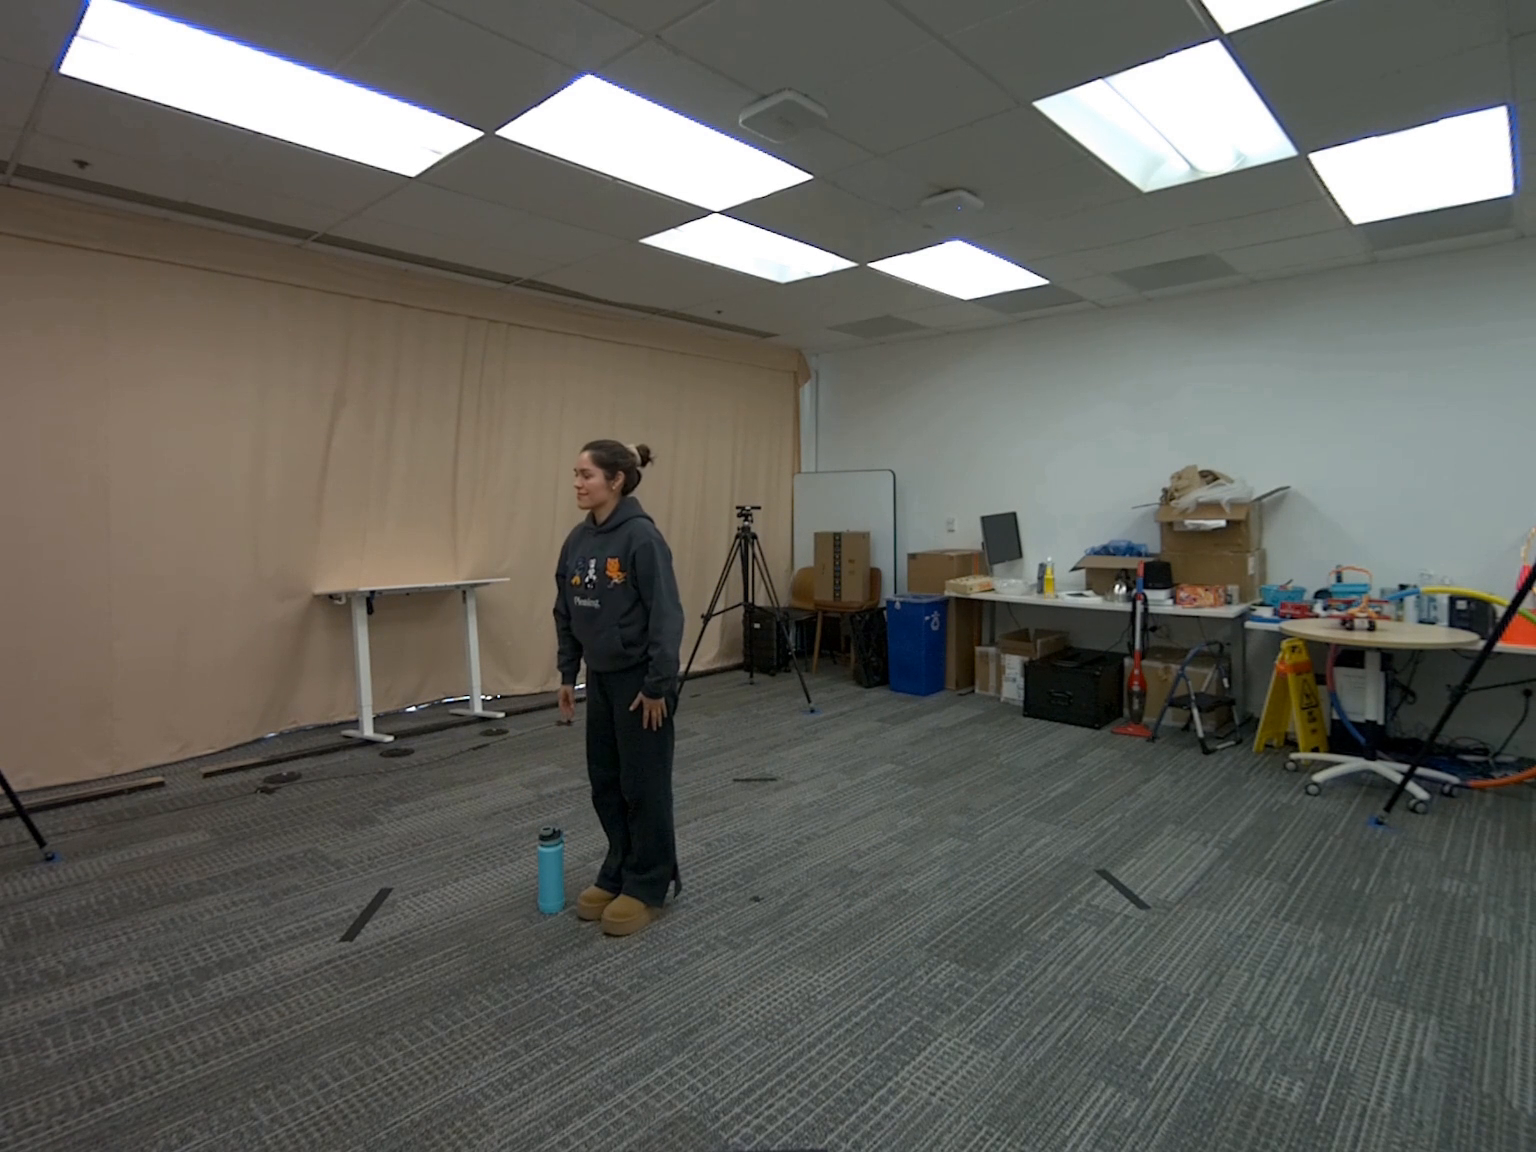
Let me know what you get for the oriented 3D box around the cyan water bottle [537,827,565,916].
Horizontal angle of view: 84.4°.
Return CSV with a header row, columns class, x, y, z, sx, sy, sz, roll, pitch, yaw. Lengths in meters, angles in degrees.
class,x,y,z,sx,sy,sz,roll,pitch,yaw
cyan water bottle,-0.736,1.020,2.927,0.092,0.283,0.092,-1,0,-2
